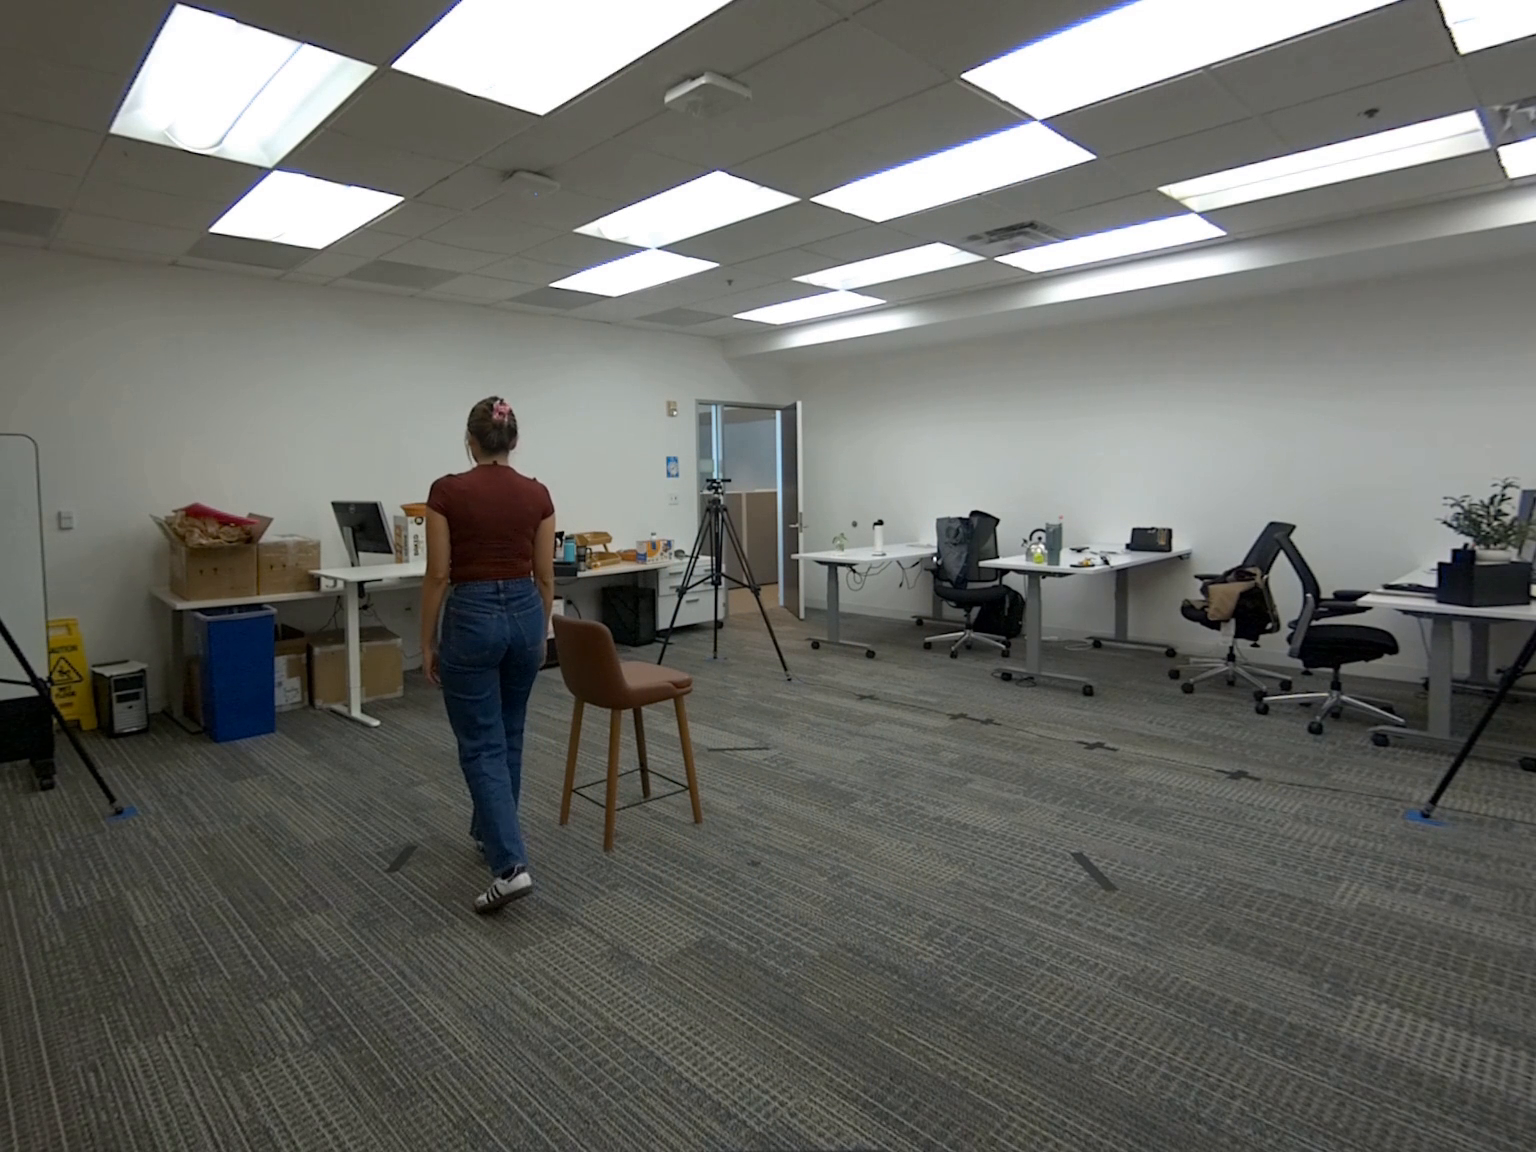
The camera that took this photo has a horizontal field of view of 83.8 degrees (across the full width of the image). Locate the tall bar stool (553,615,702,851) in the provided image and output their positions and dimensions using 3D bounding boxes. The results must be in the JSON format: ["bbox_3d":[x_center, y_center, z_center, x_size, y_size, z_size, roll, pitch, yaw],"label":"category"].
[{"bbox_3d":[-0.585,0.577,3.475,0.456,0.886,0.470,-7,6,-40],"label":"tall bar stool"}]
